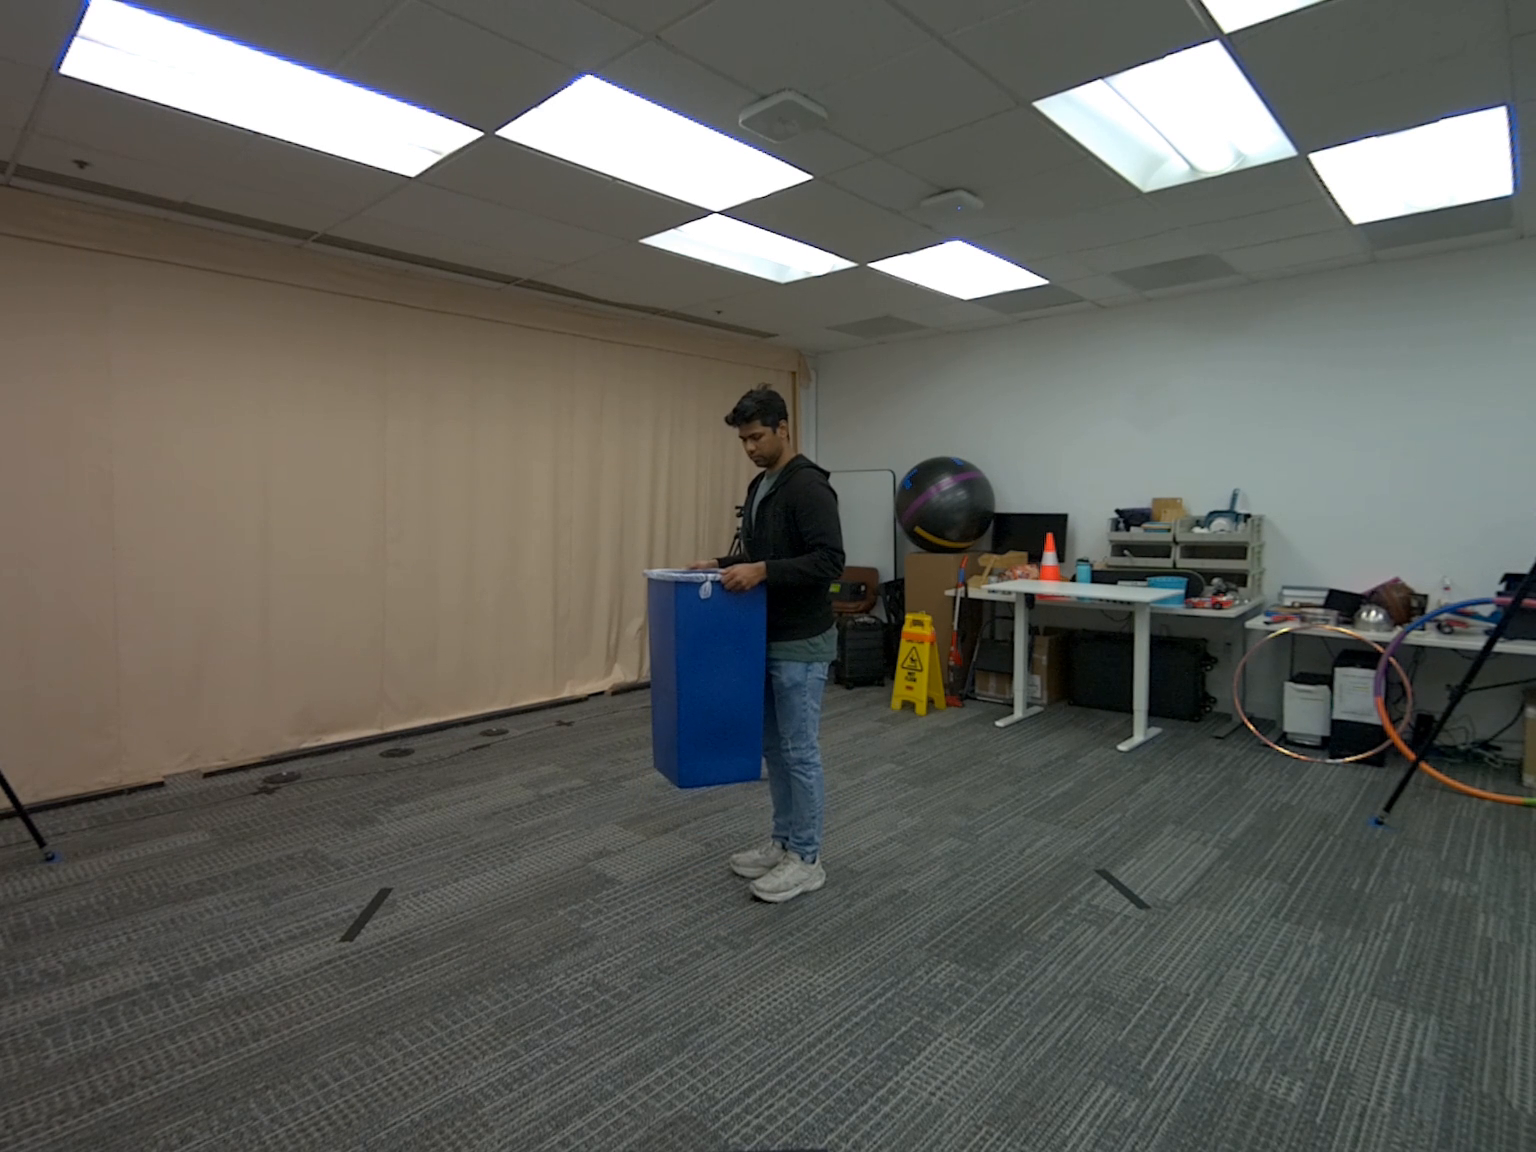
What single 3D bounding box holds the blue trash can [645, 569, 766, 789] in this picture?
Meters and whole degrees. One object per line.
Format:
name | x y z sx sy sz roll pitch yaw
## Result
blue trash can | -0.225 0.357 2.974 0.369 0.713 0.383 0 2 -25
